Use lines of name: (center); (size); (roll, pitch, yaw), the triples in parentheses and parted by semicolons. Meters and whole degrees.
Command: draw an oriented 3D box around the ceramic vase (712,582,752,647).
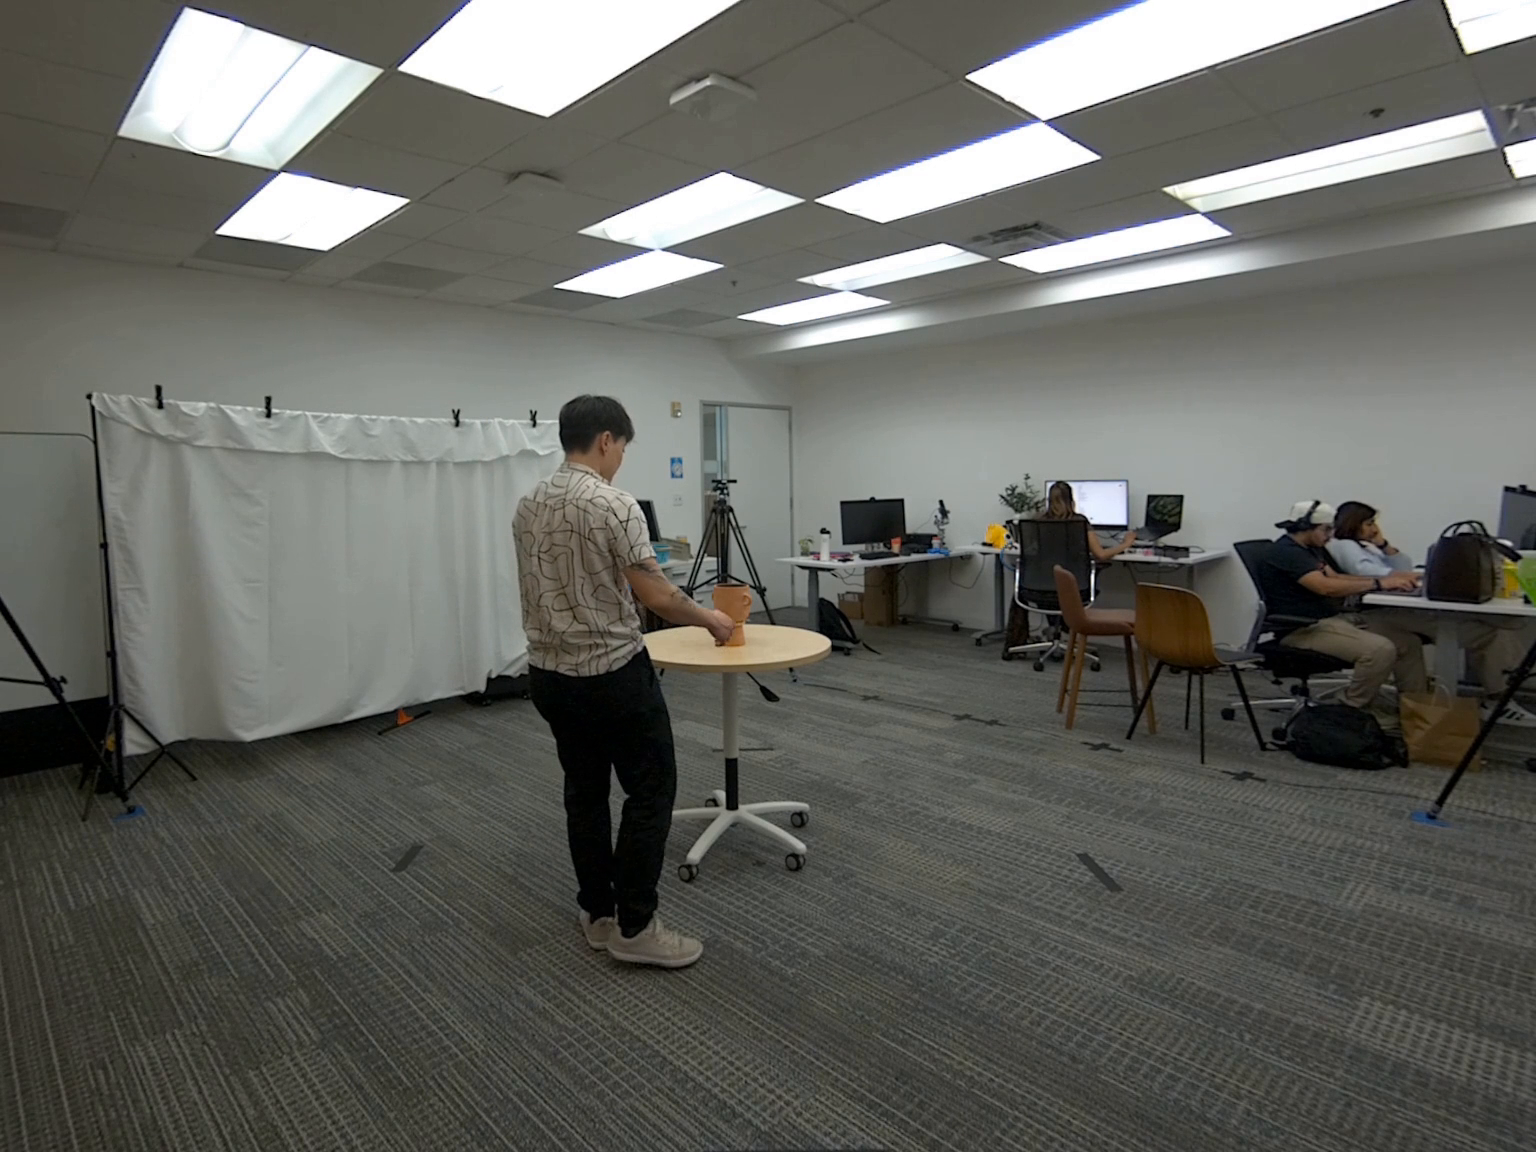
ceramic vase: (-0.133, 0.148, 3.191); (0.133, 0.219, 0.161); (-3, 5, -10)
